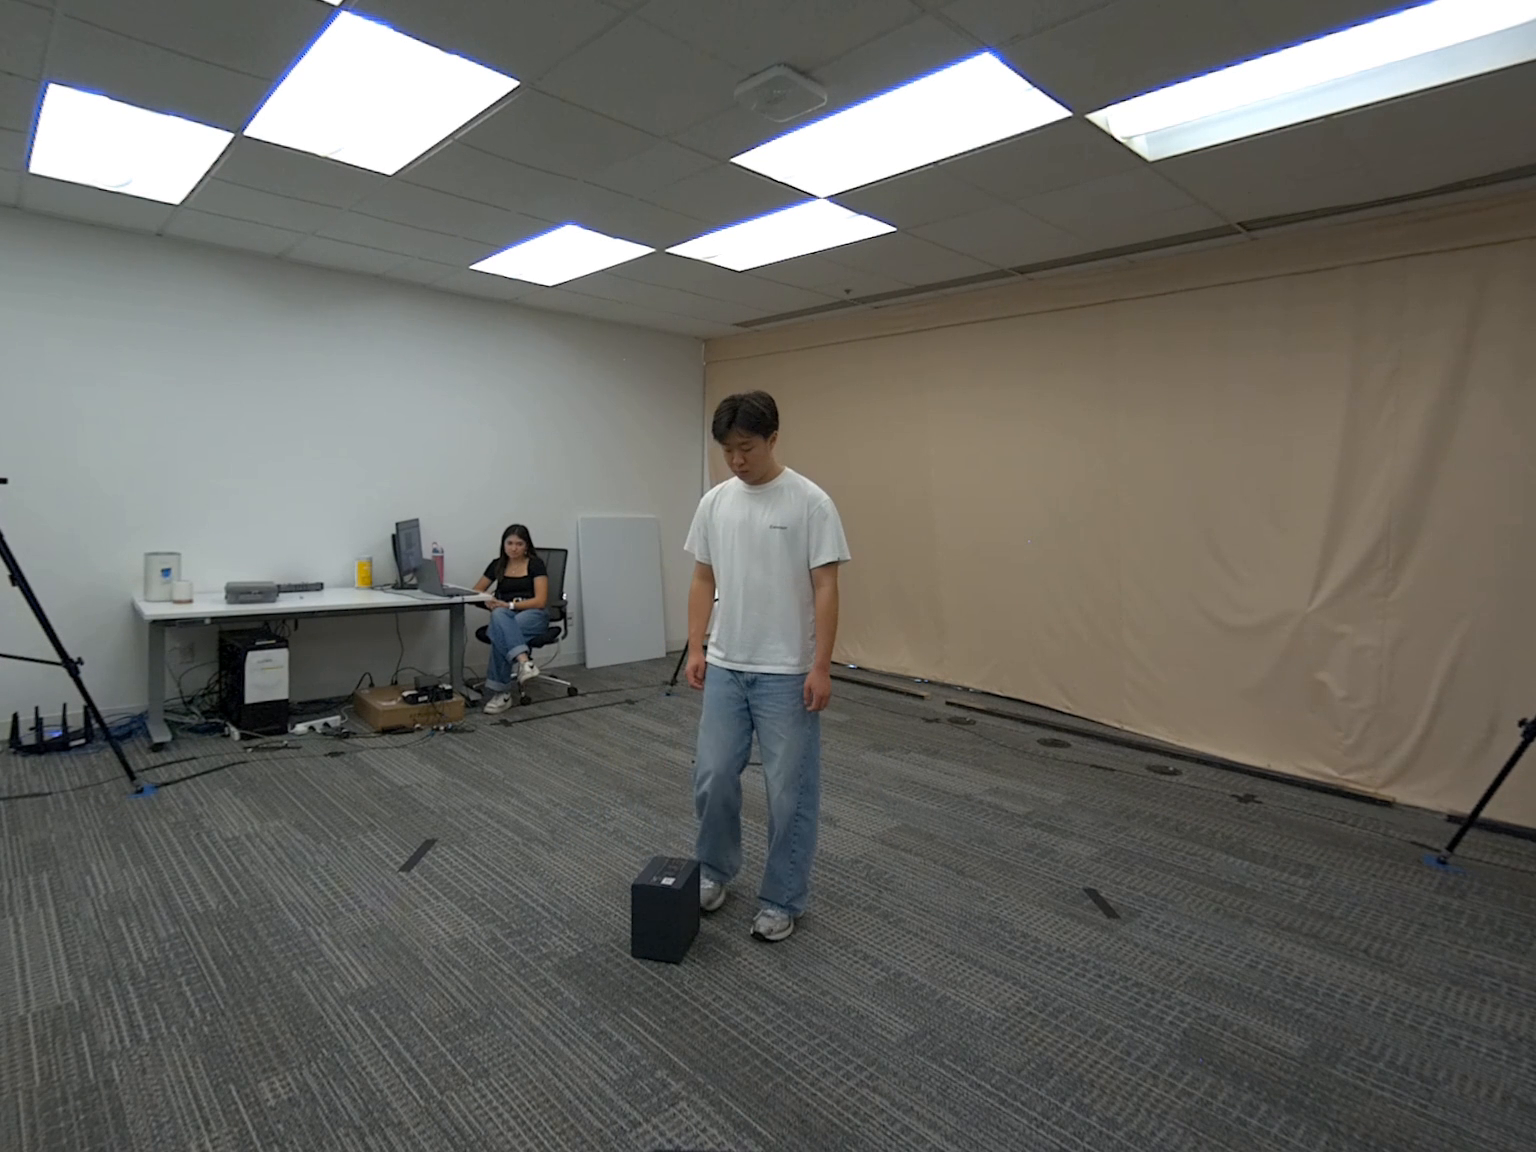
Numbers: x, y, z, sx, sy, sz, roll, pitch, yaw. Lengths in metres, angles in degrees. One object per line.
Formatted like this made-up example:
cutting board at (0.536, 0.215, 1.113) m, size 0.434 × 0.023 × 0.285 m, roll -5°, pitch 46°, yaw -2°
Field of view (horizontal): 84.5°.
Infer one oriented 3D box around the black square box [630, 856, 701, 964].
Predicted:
black square box at (-0.318, 1.029, 2.607) m, size 0.158 × 0.227 × 0.215 m, roll 1°, pitch 4°, yaw 13°
